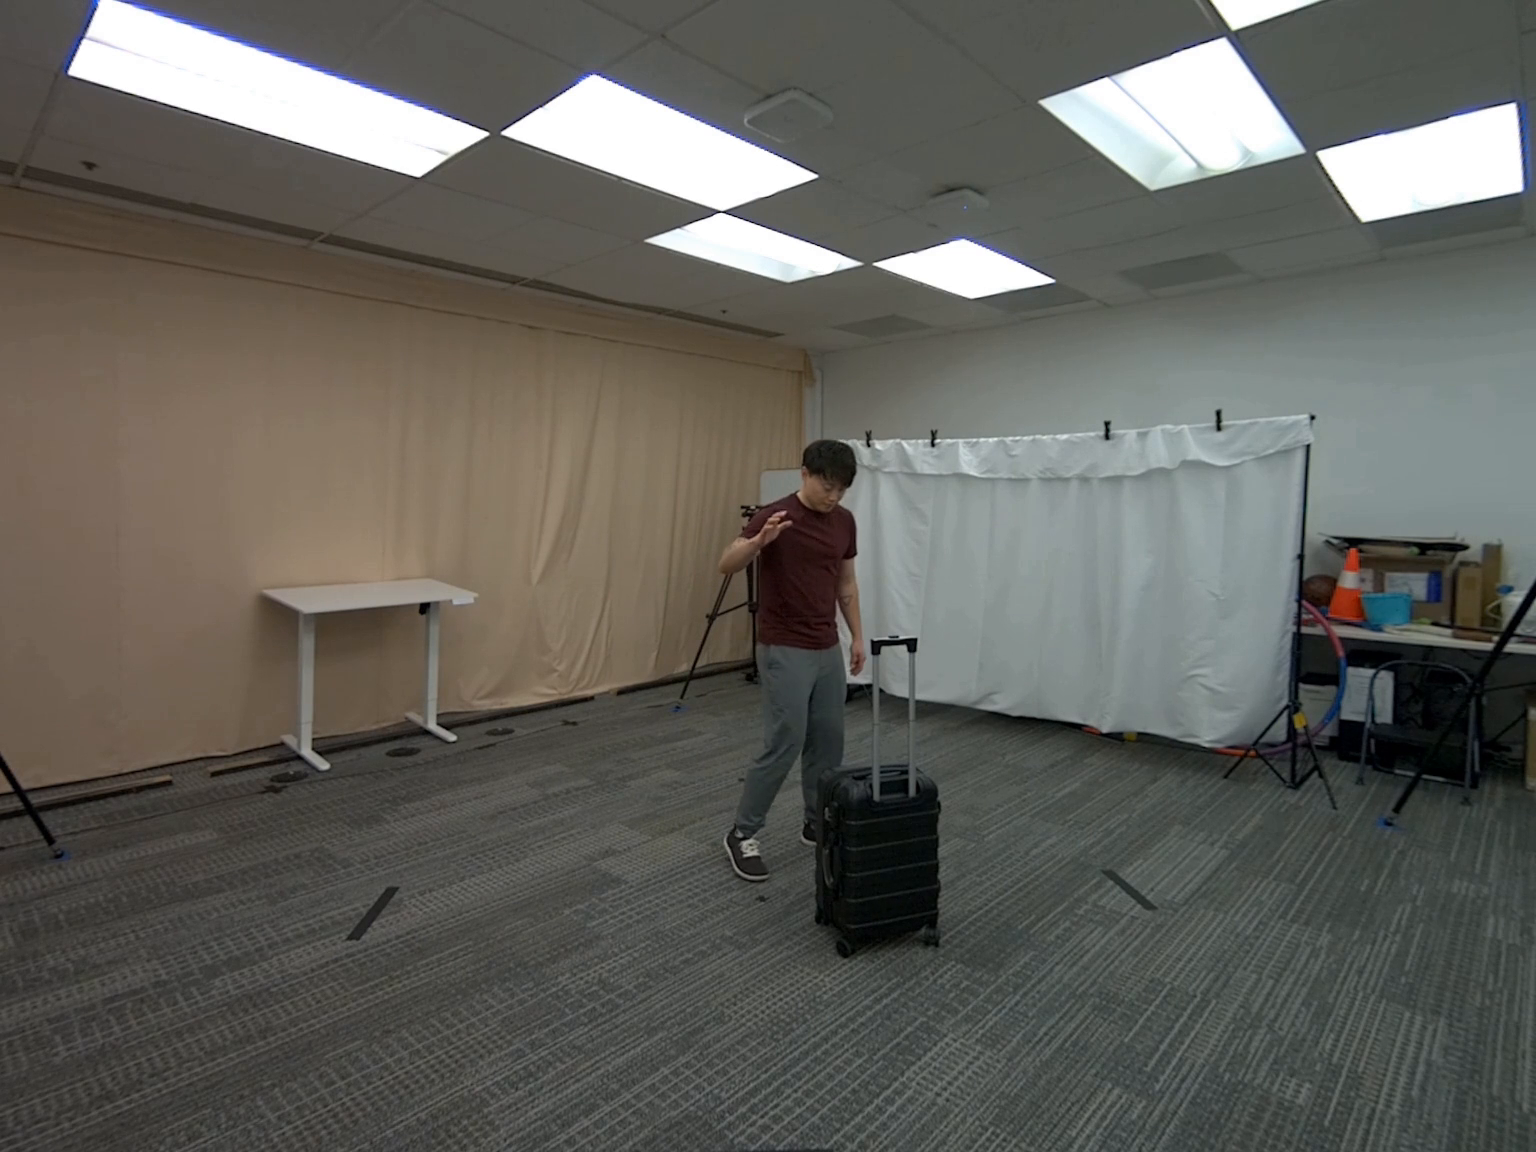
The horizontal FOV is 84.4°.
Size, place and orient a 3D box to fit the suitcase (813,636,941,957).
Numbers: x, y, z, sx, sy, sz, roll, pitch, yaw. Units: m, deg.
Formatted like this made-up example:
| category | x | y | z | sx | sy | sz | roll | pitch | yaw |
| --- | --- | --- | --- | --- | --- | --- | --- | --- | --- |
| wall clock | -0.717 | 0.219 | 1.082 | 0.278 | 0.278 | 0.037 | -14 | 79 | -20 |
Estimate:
| category | x | y | z | sx | sy | sz | roll | pitch | yaw |
| --- | --- | --- | --- | --- | --- | --- | --- | --- | --- |
| suitcase | 0.354 | 0.687 | 2.722 | 0.378 | 0.978 | 0.261 | 0 | 1 | -16 |
